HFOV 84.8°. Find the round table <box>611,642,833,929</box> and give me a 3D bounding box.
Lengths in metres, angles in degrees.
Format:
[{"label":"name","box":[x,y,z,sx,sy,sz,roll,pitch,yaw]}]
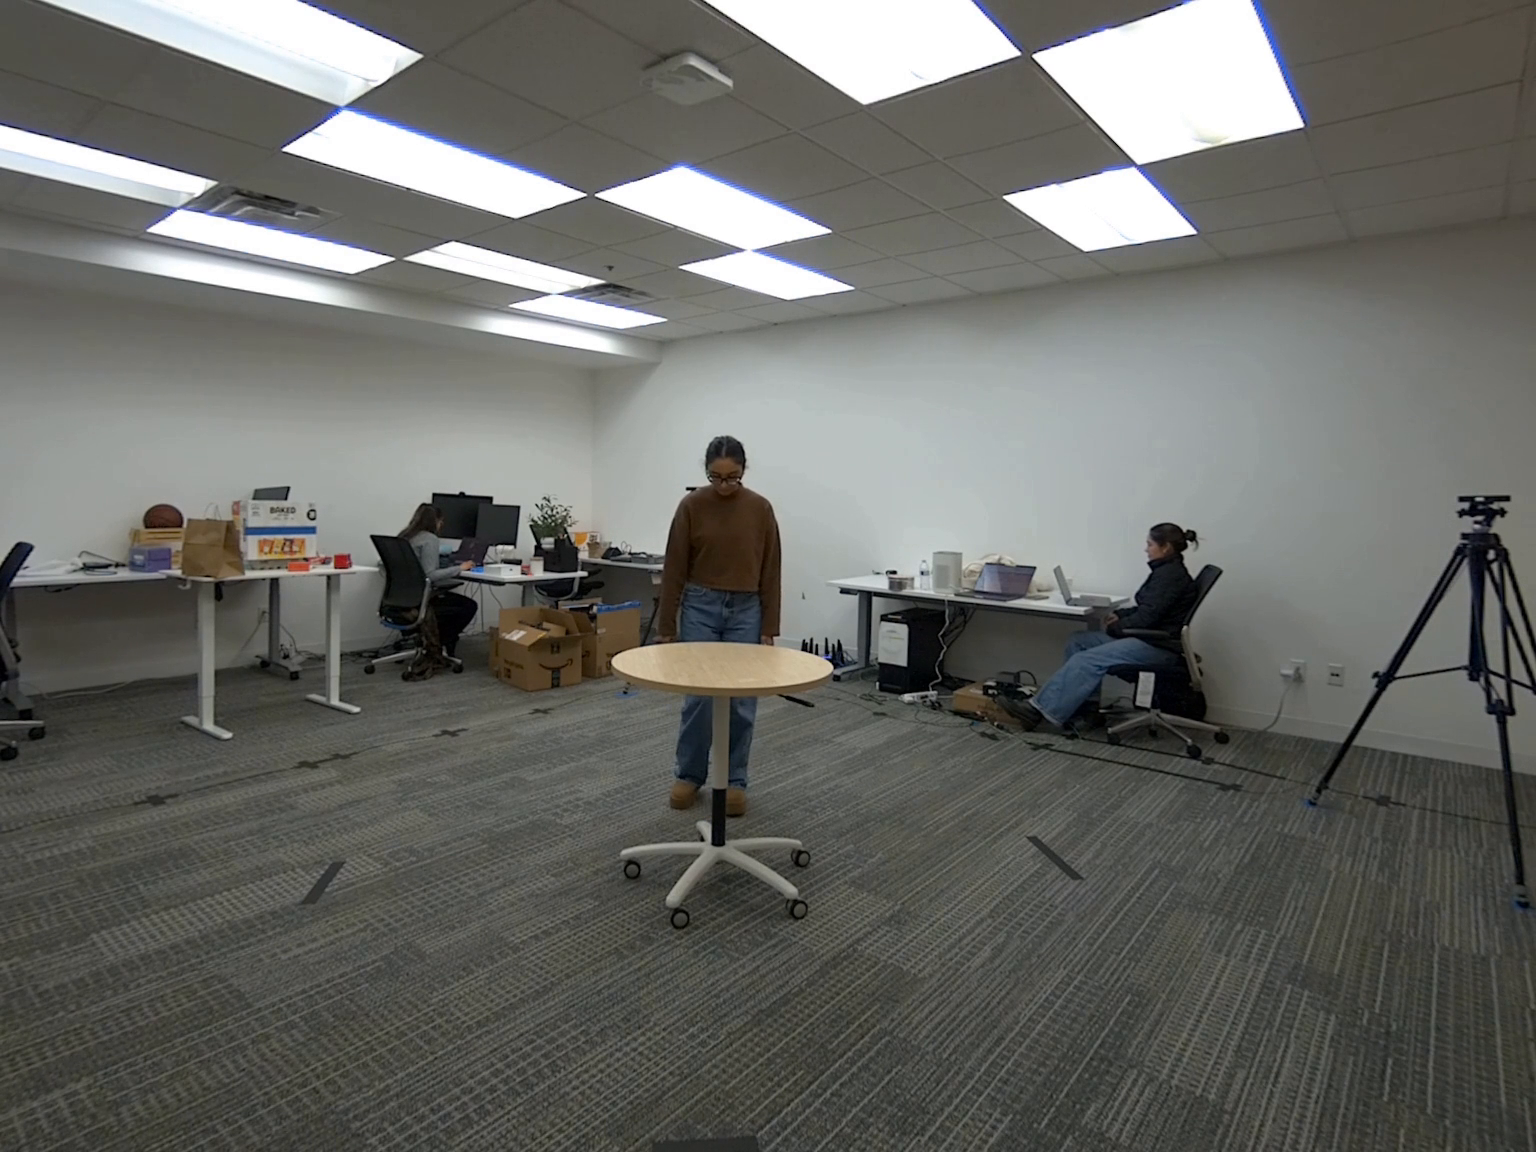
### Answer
[{"label":"round table","box":[-0.169,0.690,2.979,0.763,0.792,0.767,1,4,-2]}]
